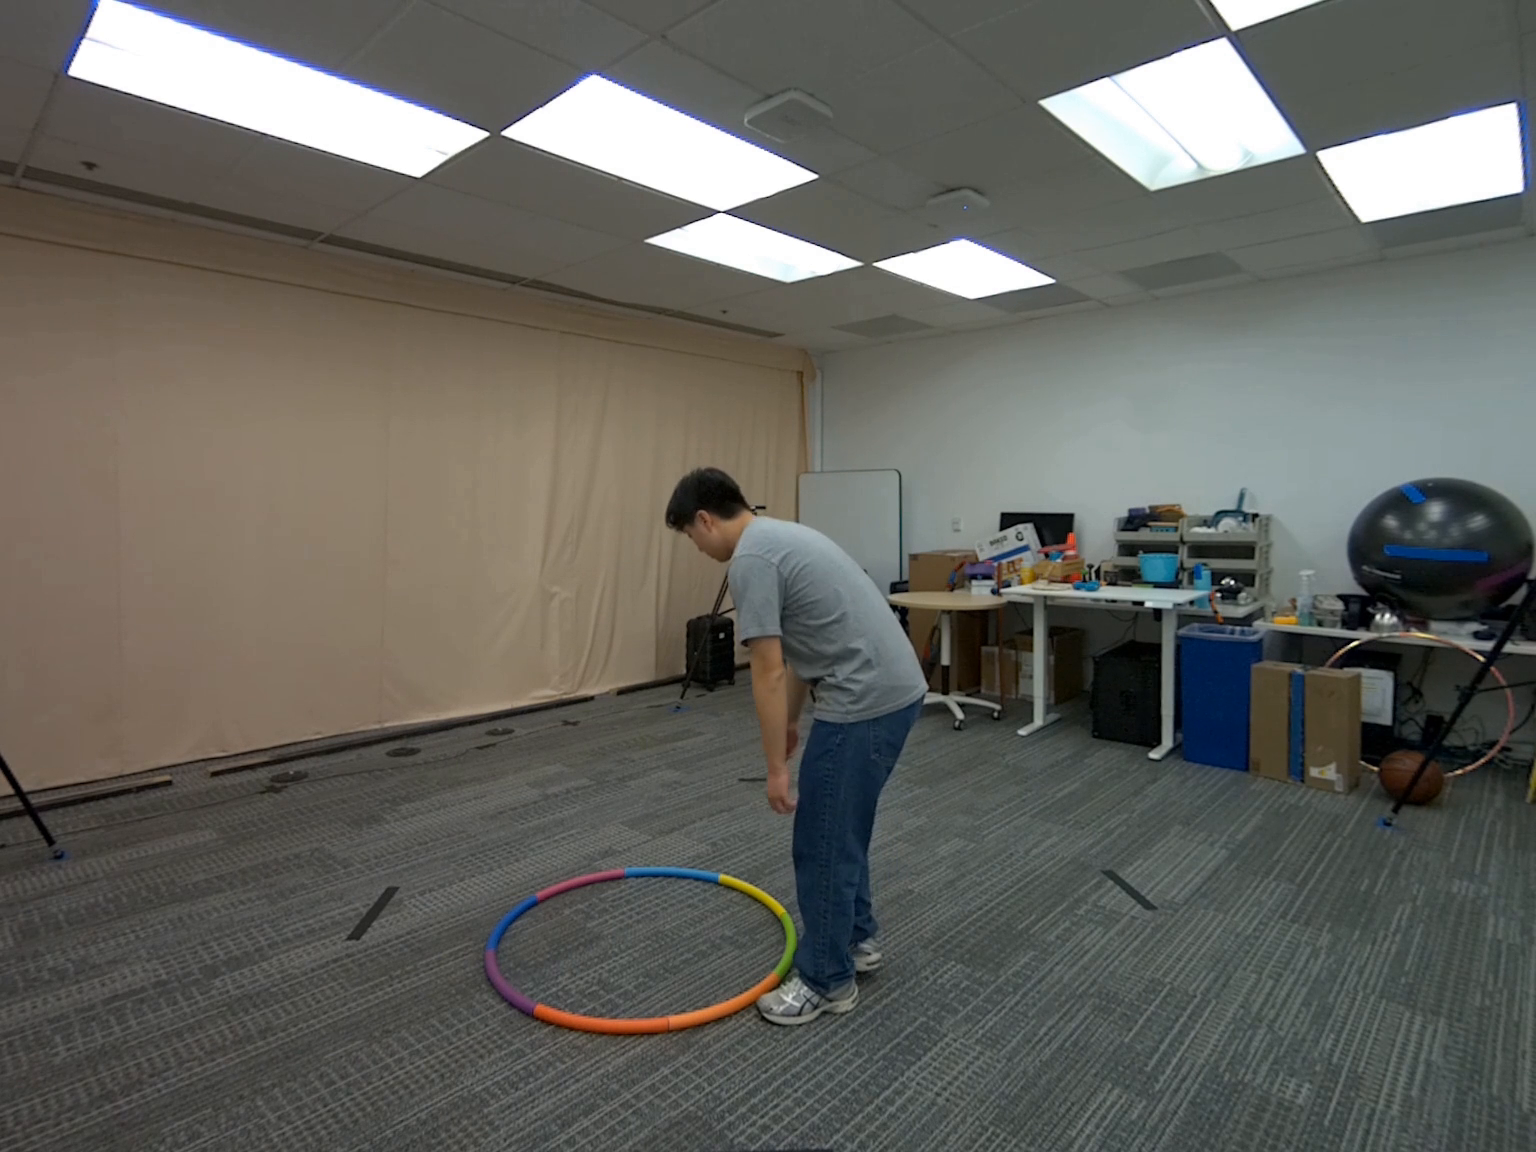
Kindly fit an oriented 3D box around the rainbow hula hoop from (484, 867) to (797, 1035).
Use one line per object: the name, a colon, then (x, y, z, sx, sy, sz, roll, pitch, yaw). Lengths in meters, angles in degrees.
rainbow hula hoop: (-0.396, 1.141, 2.702, 0.978, 0.035, 0.982, -1, 5, -2)
